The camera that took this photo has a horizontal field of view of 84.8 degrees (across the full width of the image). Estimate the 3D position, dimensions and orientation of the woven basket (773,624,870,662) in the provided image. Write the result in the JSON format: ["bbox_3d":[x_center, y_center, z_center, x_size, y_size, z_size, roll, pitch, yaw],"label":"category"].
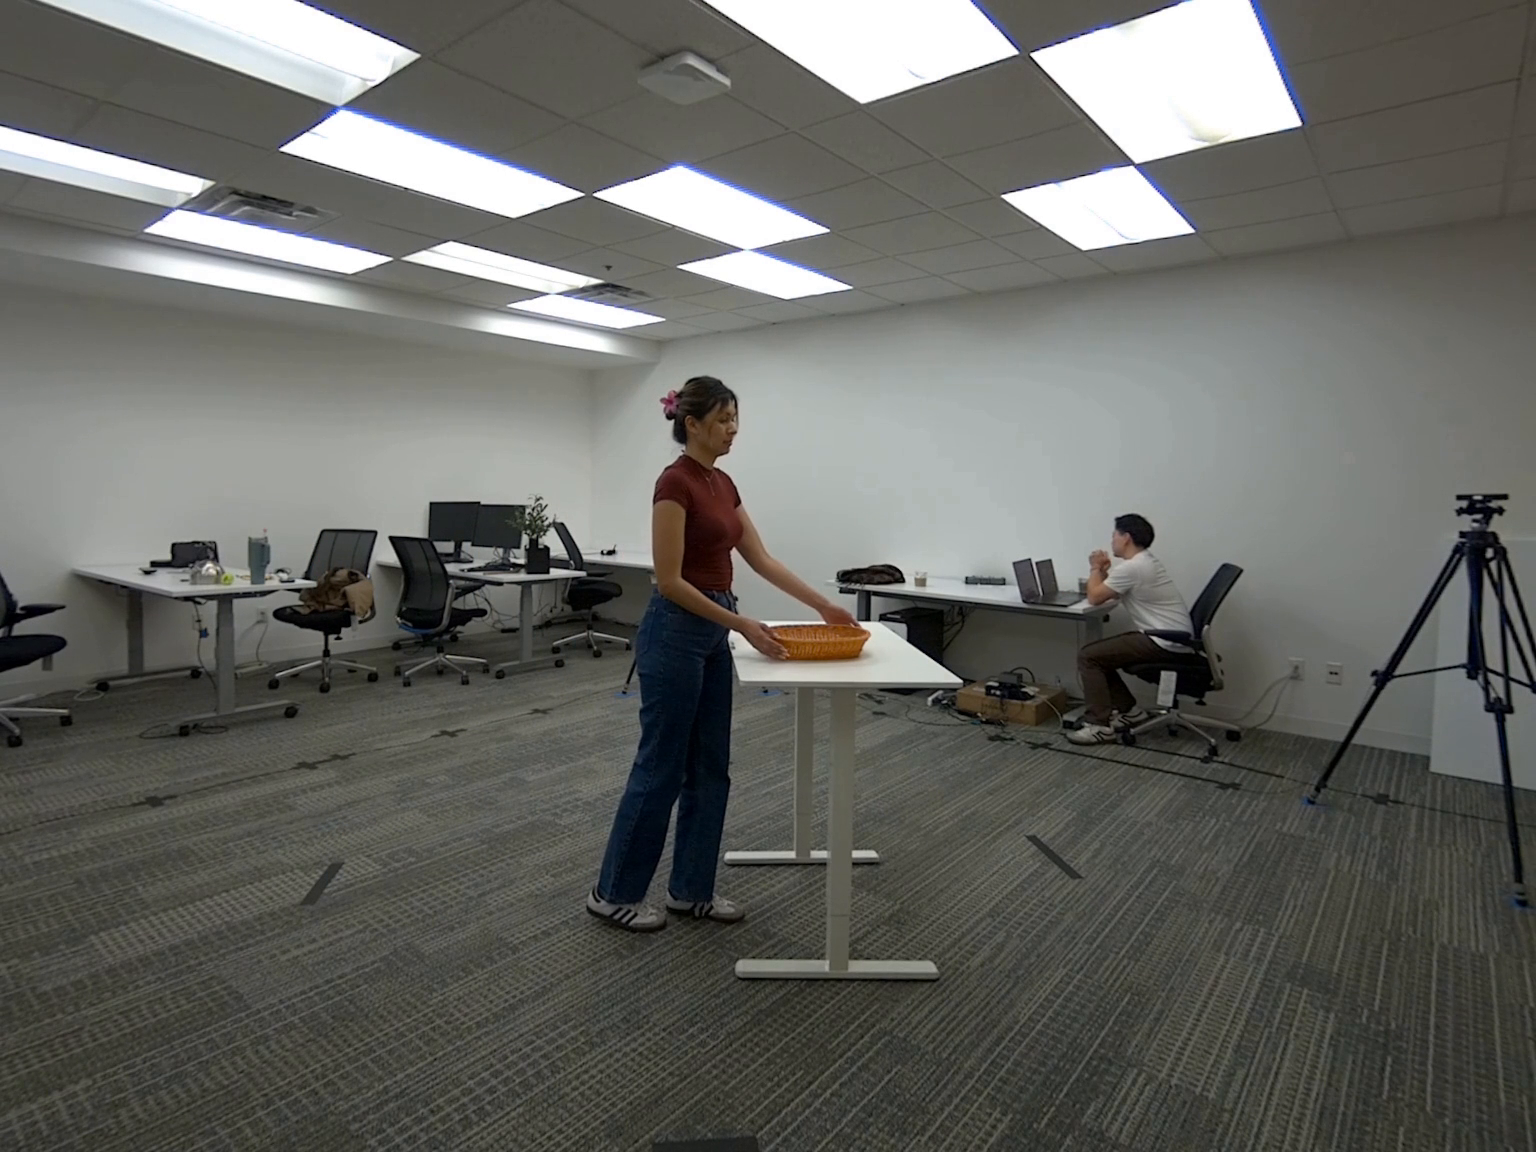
[{"bbox_3d":[0.142,0.209,2.618,0.344,0.073,0.258,-1,8,-17],"label":"woven basket"}]
